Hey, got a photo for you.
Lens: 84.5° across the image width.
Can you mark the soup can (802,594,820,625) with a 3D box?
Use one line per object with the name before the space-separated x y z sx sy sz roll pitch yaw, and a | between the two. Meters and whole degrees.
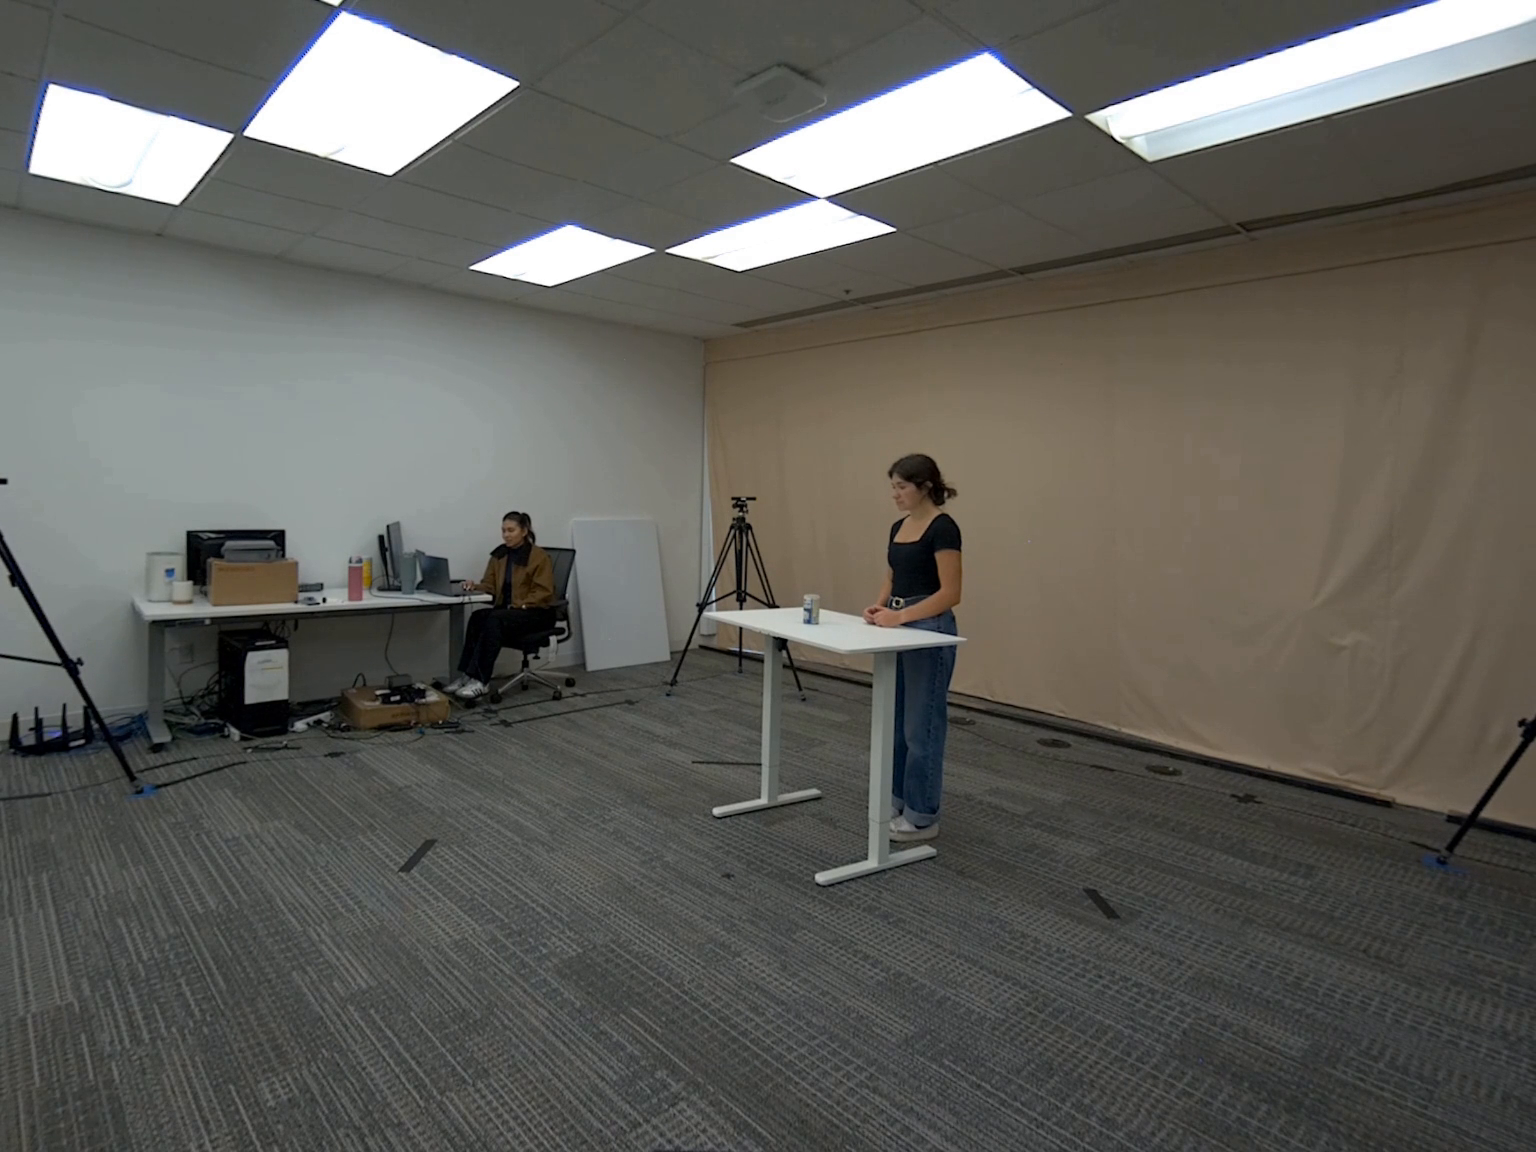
soup can | 0.170 0.140 3.503 0.067 0.121 0.067 3 2 -1
